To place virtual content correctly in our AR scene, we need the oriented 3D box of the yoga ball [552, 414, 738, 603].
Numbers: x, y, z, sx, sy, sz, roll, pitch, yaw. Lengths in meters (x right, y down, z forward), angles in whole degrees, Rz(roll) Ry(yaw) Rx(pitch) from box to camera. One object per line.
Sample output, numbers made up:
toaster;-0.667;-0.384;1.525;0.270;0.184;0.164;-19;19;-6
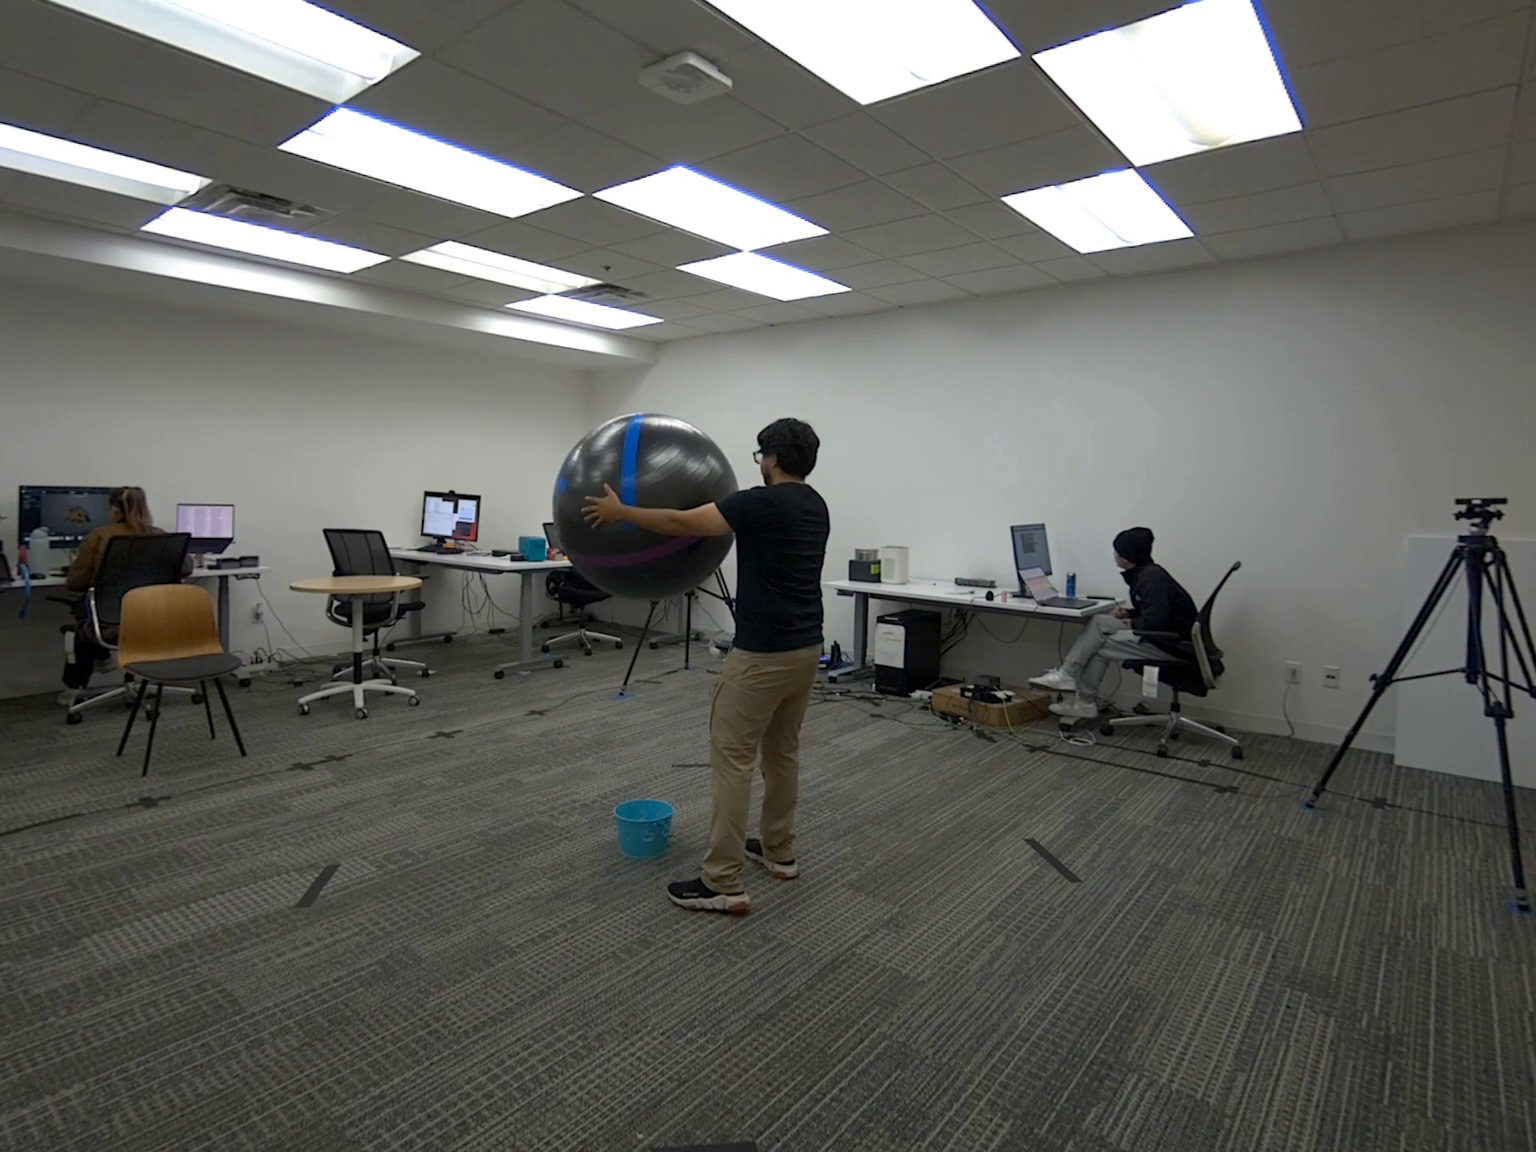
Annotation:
yoga ball;-0.500;-0.276;3.451;0.757;0.756;0.761;1;4;-2
